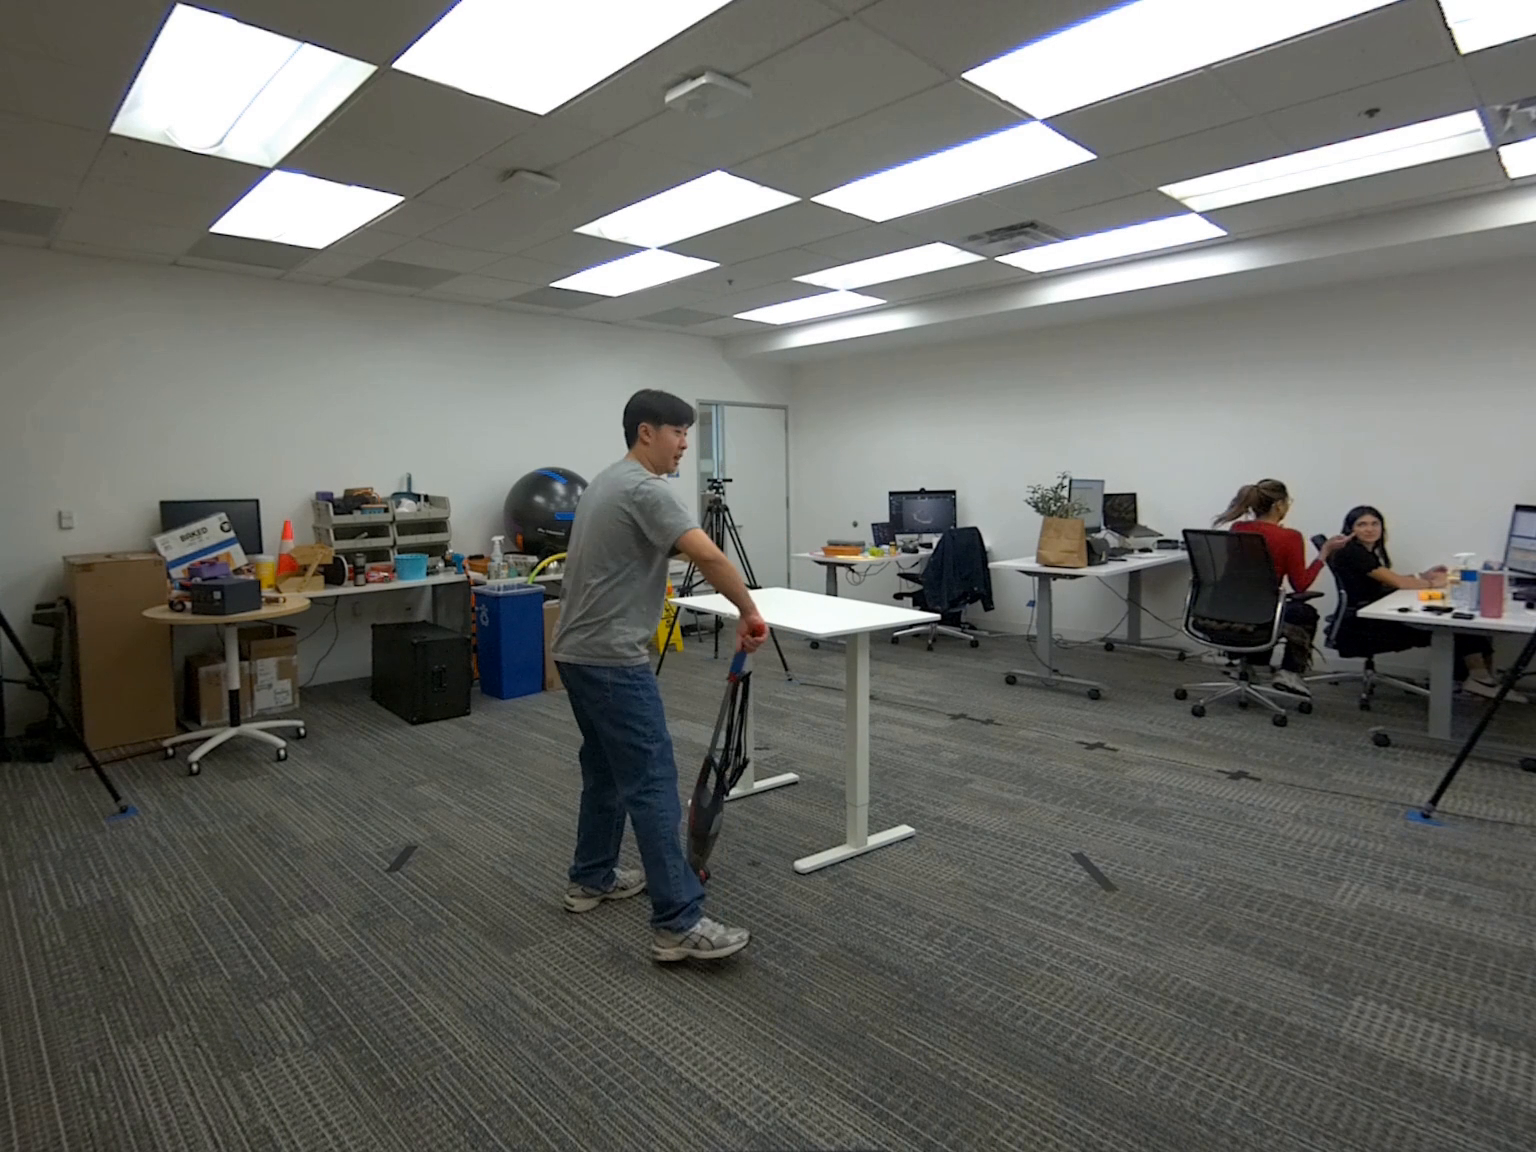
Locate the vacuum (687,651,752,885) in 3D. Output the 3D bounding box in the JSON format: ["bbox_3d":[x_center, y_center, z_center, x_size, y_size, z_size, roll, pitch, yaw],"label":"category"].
[{"bbox_3d":[-0.152,0.607,2.743,0.246,1.035,0.150,-4,33,-38],"label":"vacuum"}]
